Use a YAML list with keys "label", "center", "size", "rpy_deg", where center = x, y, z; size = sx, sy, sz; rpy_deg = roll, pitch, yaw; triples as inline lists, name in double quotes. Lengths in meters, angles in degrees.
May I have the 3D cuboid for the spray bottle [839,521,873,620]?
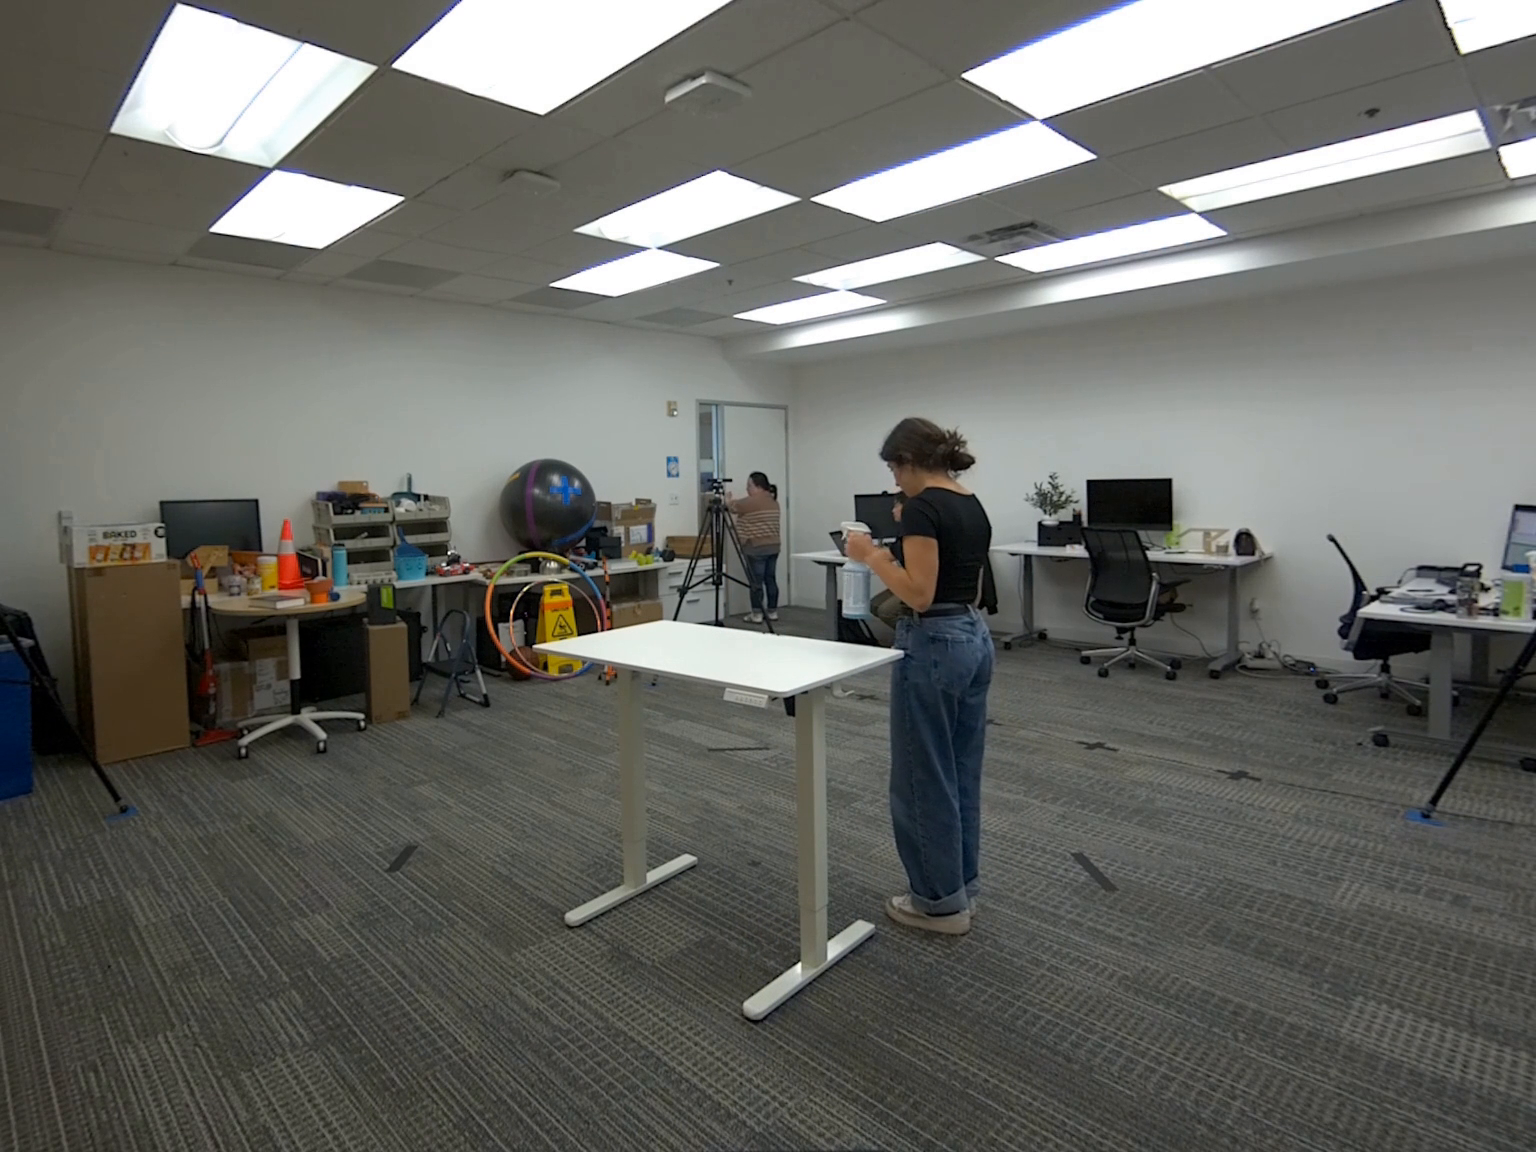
- label: "spray bottle"
  center: [0.288, -0.013, 2.647]
  size: [0.092, 0.297, 0.085]
  rpy_deg: [0, 1, 23]
